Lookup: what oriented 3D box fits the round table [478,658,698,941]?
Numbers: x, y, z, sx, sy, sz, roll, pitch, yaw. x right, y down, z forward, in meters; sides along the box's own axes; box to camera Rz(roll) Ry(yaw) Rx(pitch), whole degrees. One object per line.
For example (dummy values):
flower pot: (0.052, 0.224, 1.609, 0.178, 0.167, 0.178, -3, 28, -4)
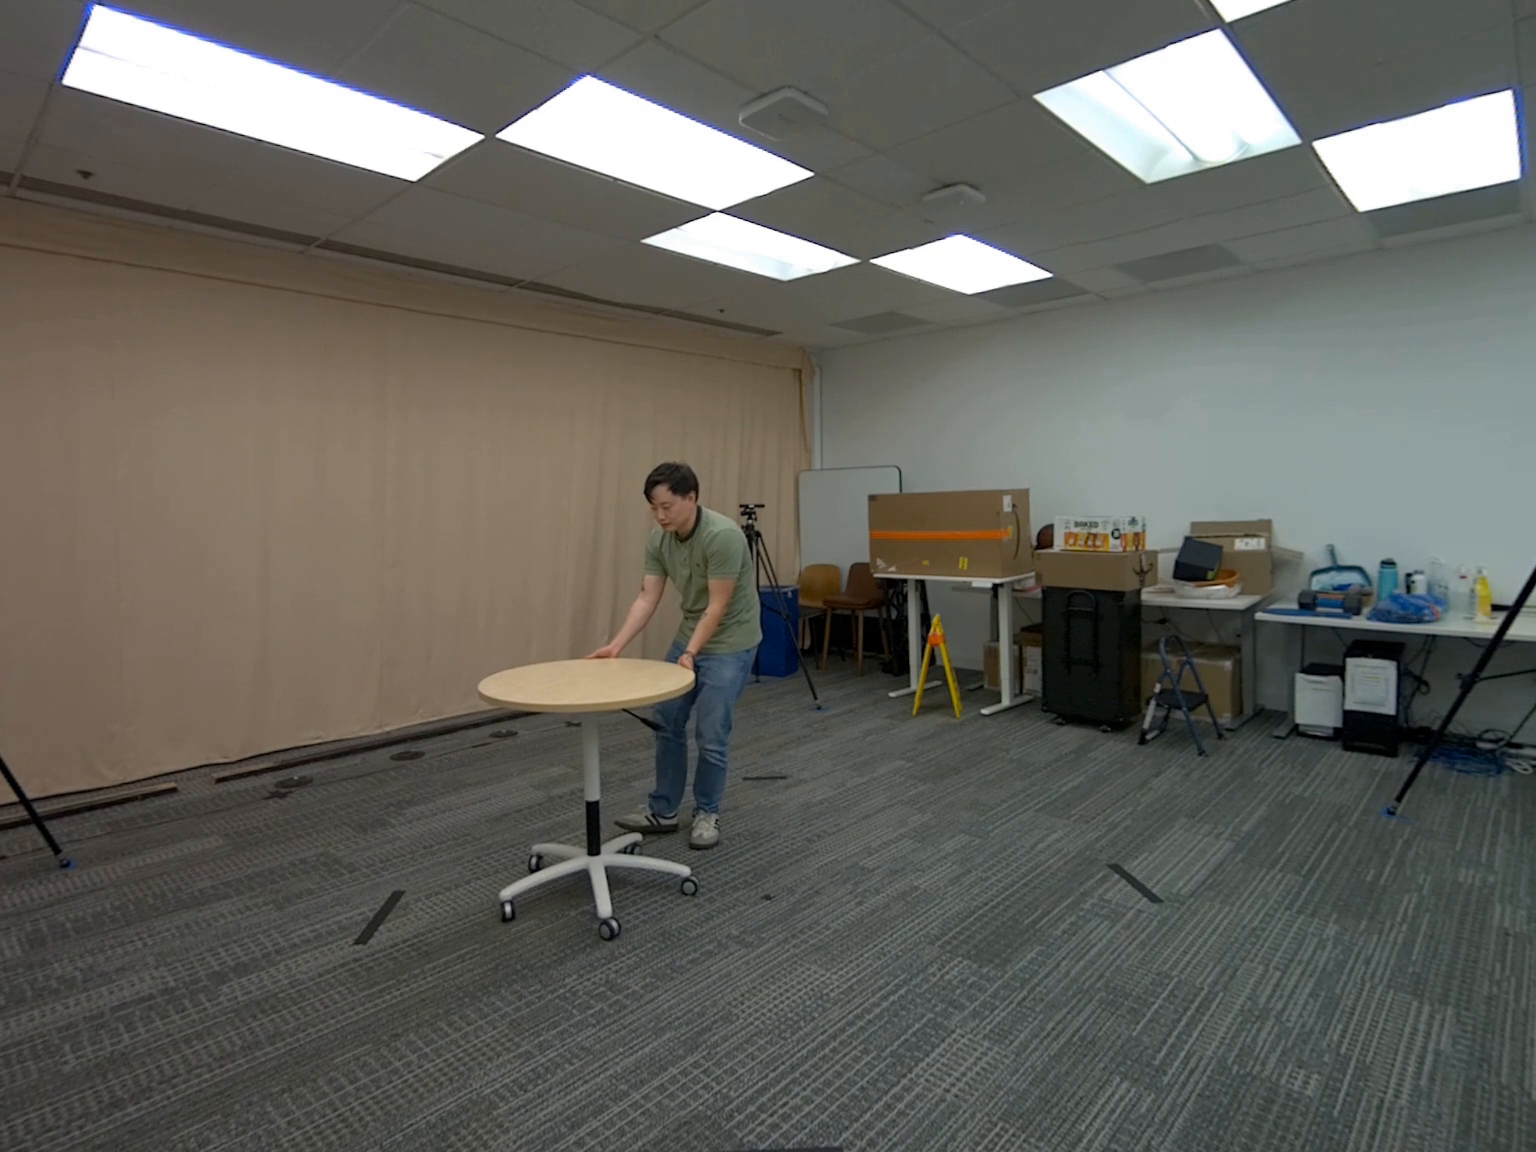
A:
round table: (-0.638, 0.762, 3.036, 0.763, 0.792, 0.766, -1, 4, -2)
